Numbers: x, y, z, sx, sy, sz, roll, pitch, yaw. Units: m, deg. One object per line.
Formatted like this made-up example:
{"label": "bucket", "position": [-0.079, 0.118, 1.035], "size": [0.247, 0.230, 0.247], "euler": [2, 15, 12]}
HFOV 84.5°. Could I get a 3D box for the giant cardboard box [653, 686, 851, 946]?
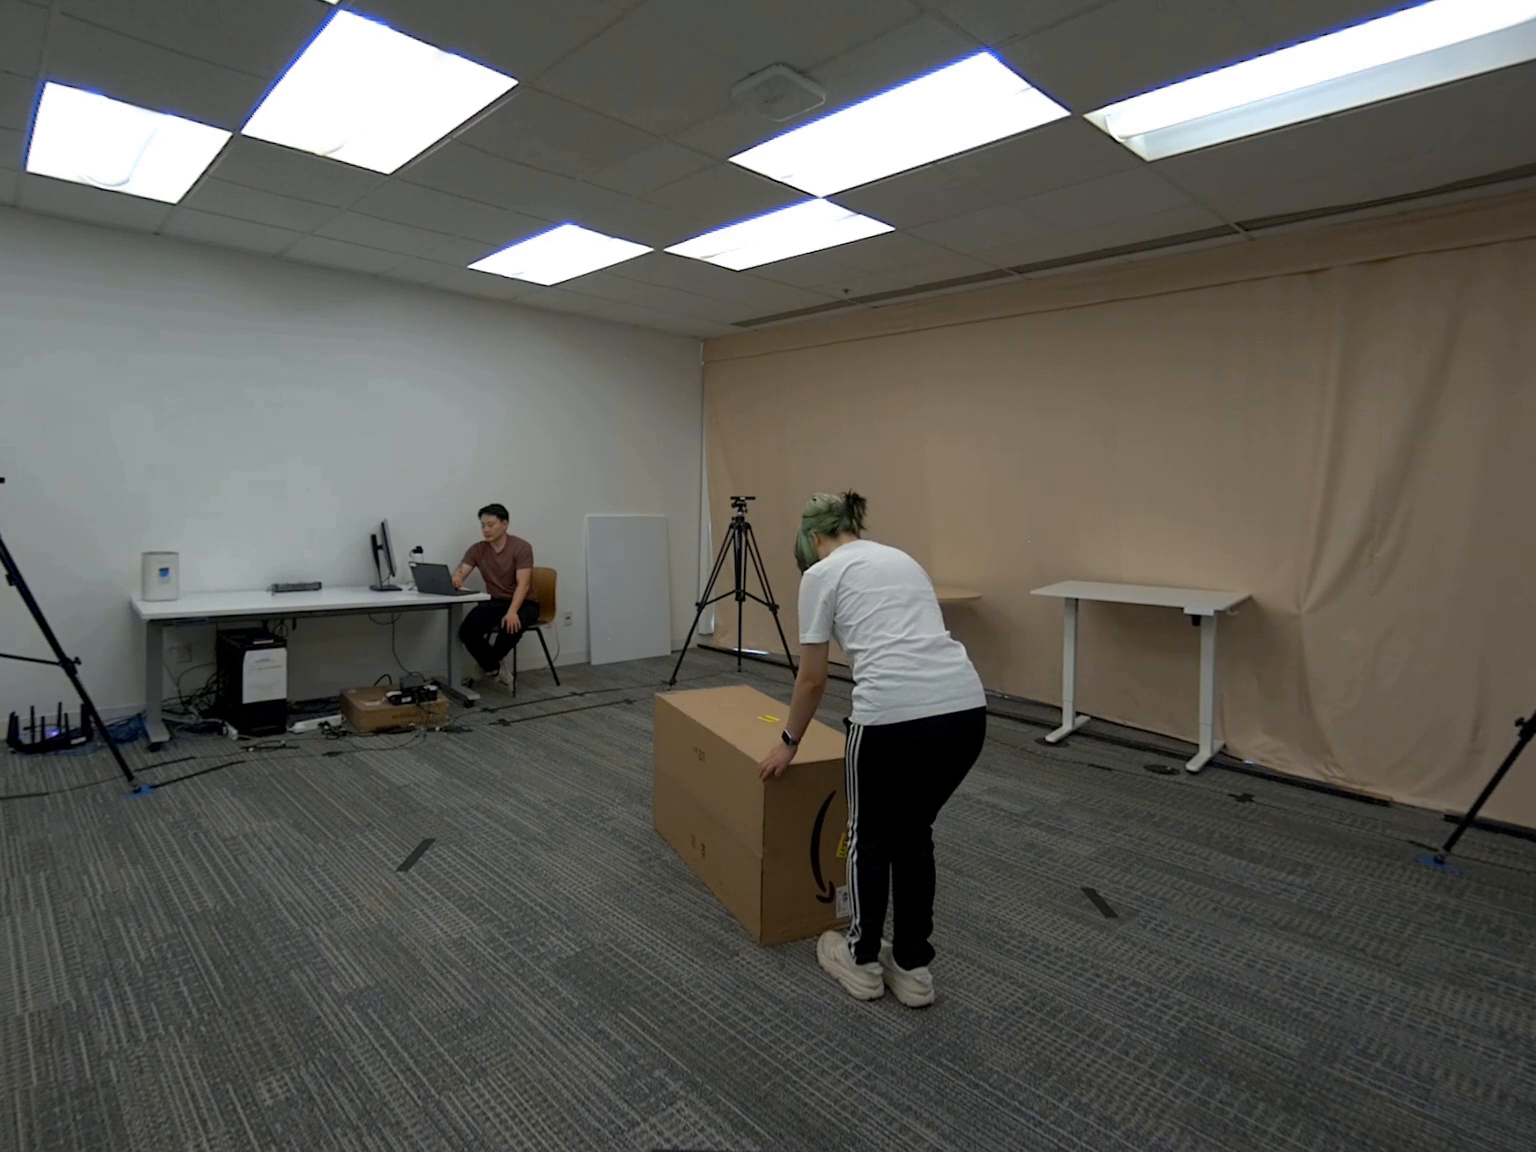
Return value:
{"label": "giant cardboard box", "position": [-0.064, 0.816, 3.139], "size": [0.438, 0.582, 1.049], "euler": [0, 5, -27]}
